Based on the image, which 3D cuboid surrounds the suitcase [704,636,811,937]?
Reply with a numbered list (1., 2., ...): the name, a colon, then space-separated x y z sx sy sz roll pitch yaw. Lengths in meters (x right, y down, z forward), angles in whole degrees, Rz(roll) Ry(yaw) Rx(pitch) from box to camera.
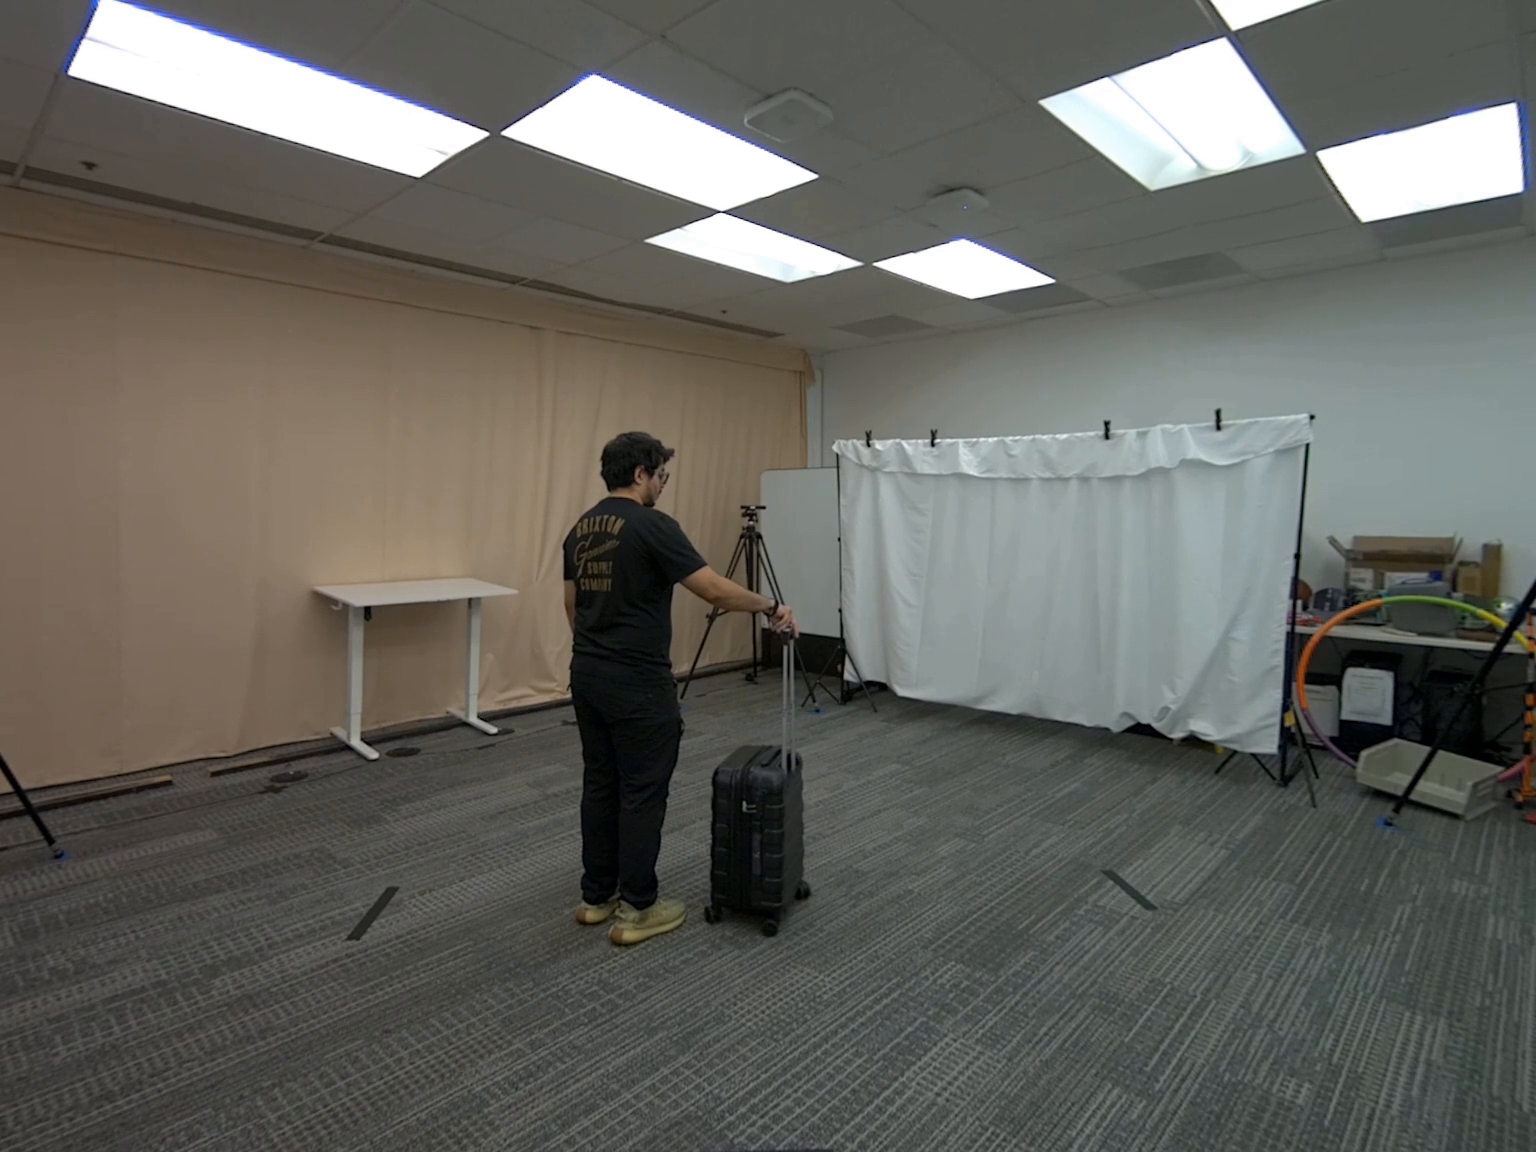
1. suitcase: -0.033 0.679 2.884 0.262 0.977 0.377 0 2 19
